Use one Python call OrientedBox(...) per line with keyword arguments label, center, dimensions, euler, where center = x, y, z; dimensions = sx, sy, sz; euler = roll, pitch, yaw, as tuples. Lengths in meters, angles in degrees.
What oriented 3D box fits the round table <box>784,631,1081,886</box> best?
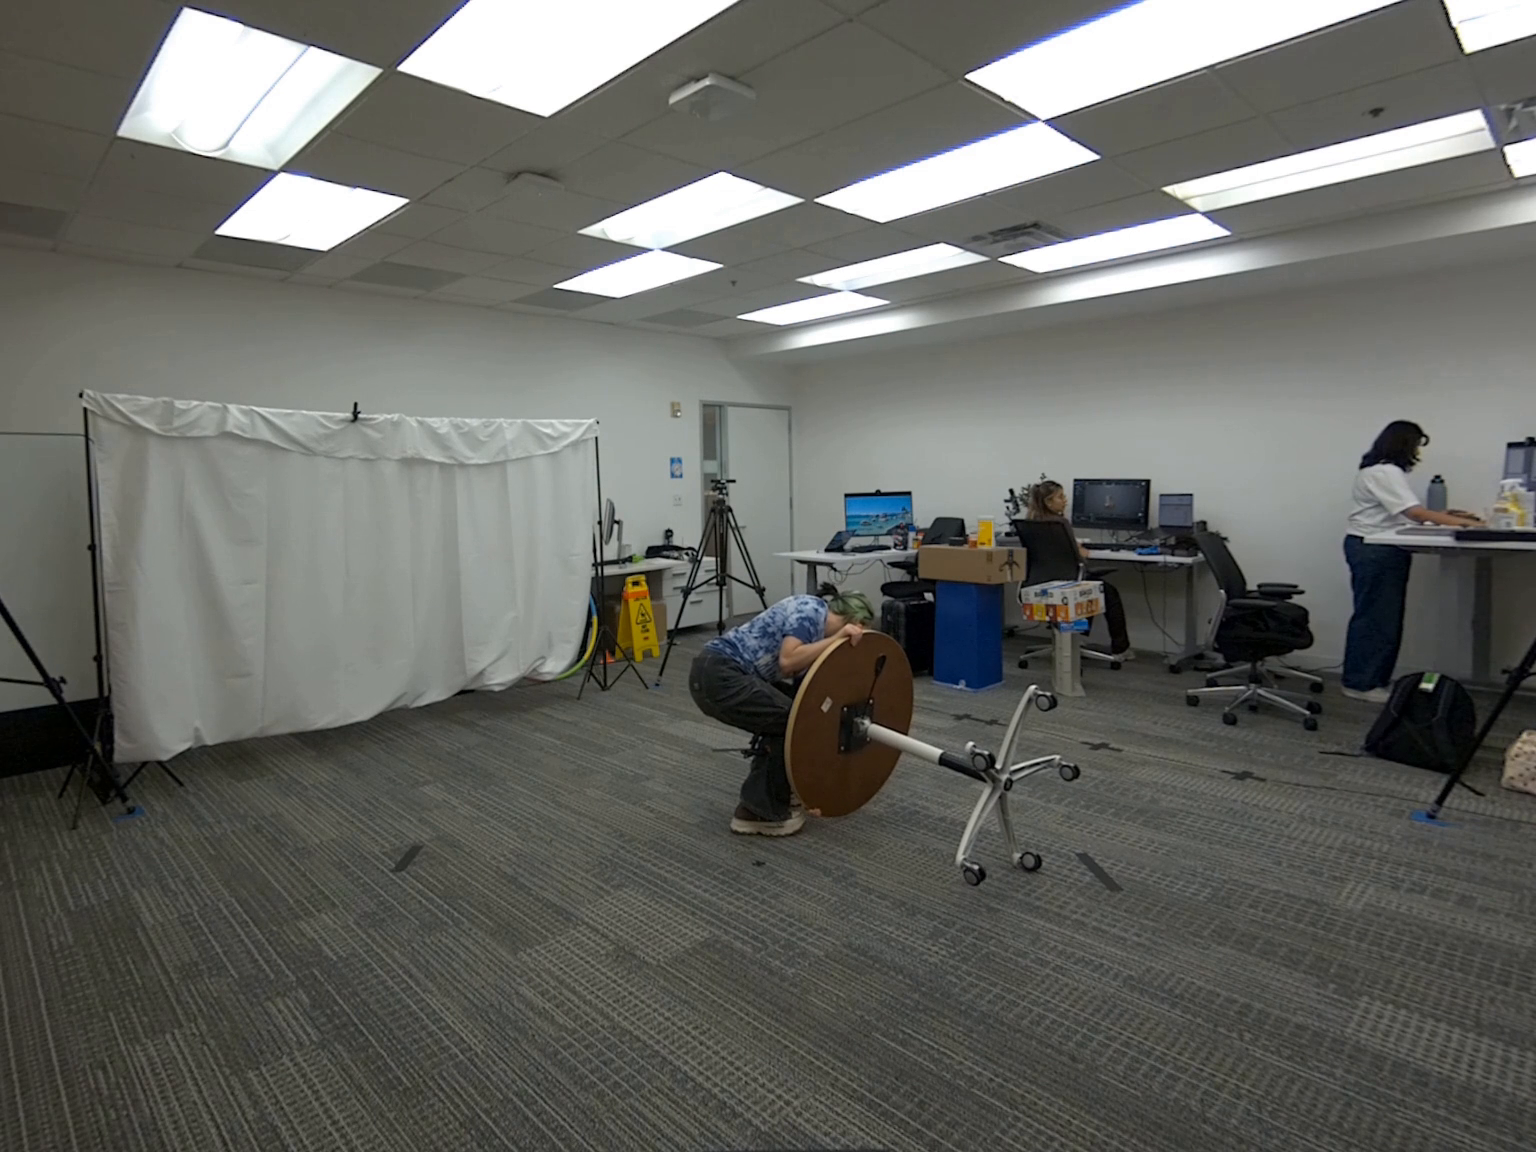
OrientedBox(label="round table", center=(0.612, 0.665, 3.167), dimensions=(0.744, 0.758, 0.821), euler=(-5, 13, -43))
